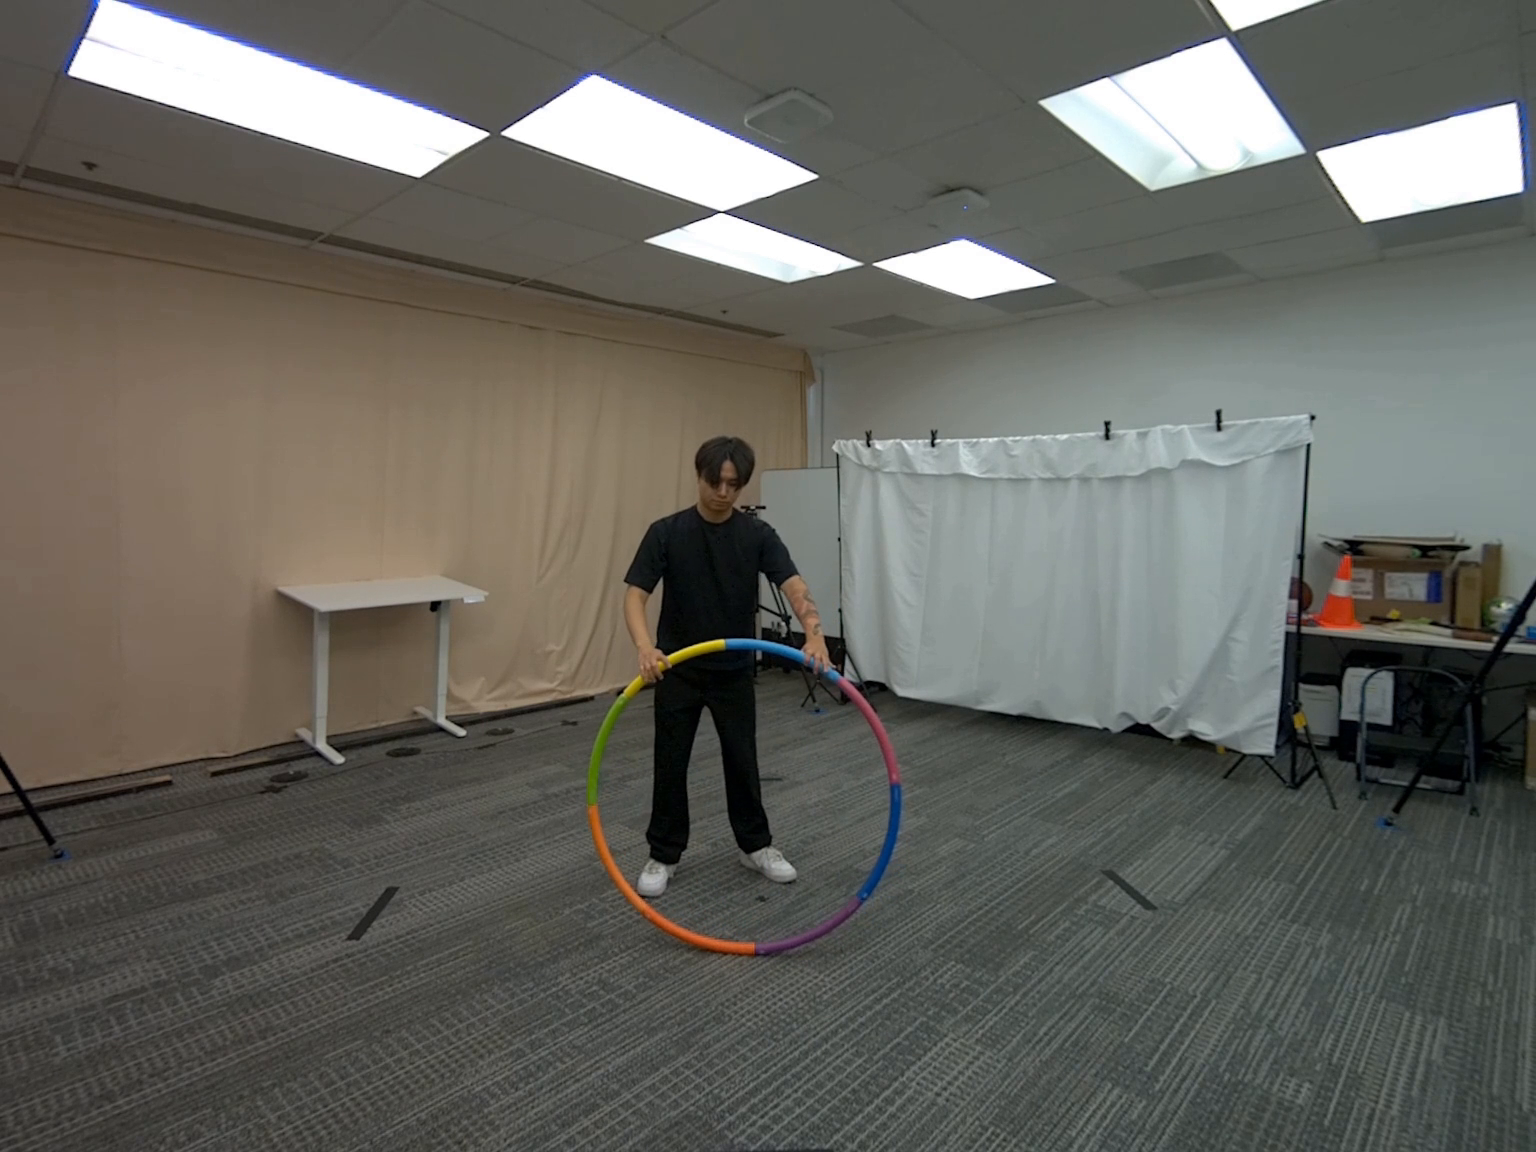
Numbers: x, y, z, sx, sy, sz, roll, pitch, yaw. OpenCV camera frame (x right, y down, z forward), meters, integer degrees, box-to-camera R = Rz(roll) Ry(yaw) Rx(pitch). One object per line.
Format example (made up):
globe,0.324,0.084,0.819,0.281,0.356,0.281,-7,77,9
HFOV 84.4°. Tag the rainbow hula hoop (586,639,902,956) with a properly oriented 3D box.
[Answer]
rainbow hula hoop,-0.083,0.694,2.653,0.986,0.980,0.035,0,-3,7
